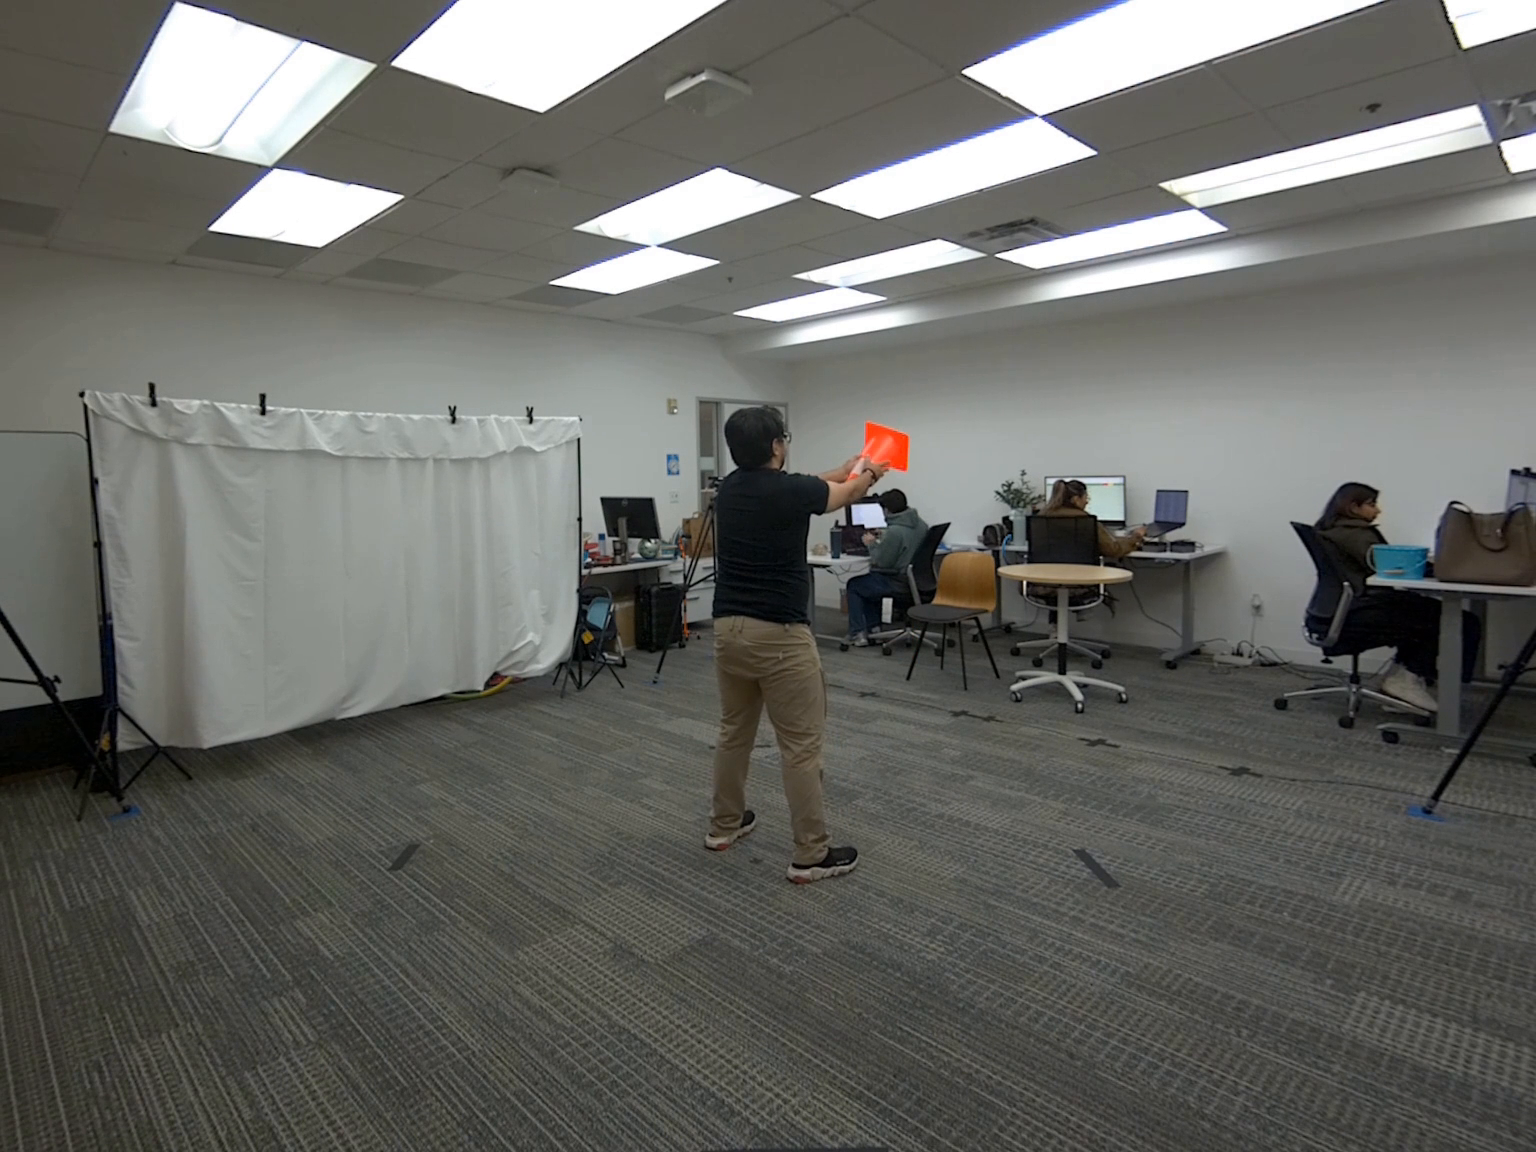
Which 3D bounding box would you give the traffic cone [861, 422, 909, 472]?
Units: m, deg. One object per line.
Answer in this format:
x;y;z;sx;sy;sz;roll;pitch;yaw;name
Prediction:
0.399;-0.422;3.460;0.211;0.197;0.383;23;52;26;traffic cone
